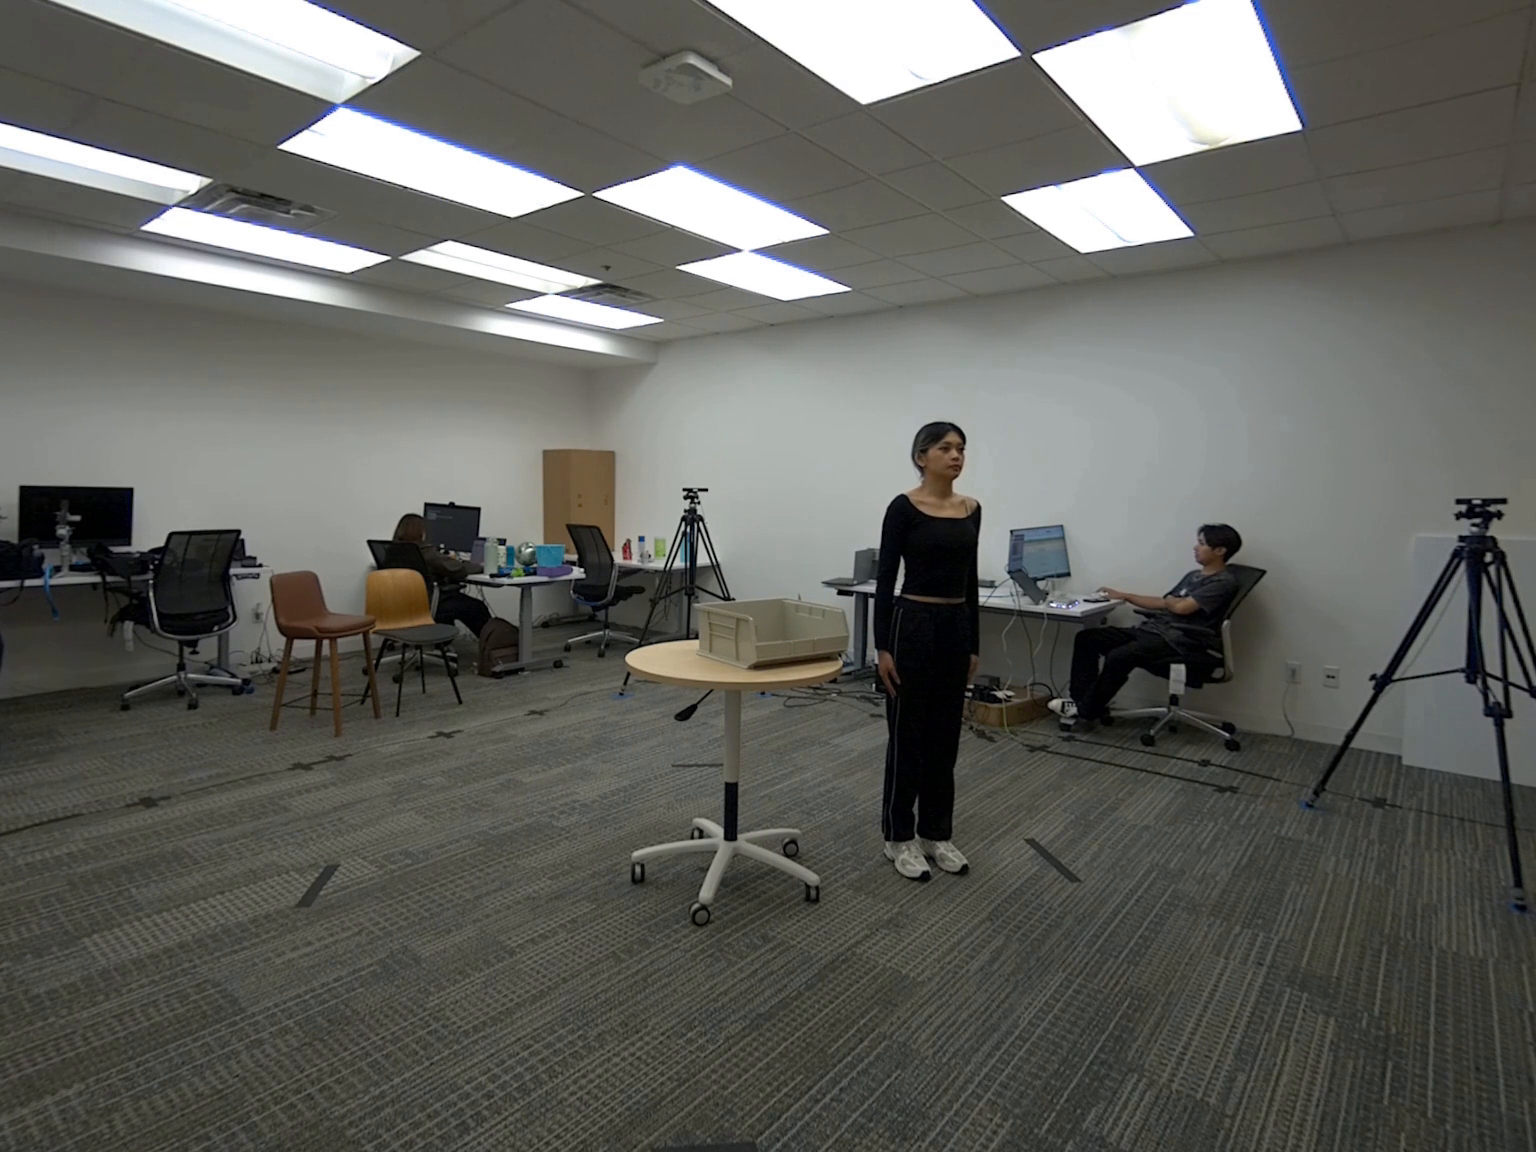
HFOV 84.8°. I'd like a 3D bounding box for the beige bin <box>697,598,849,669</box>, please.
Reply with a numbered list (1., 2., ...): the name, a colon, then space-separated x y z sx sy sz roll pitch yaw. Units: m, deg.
1. beige bin: 0.001 0.199 3.039 0.410 0.188 0.389 -3 6 -35
